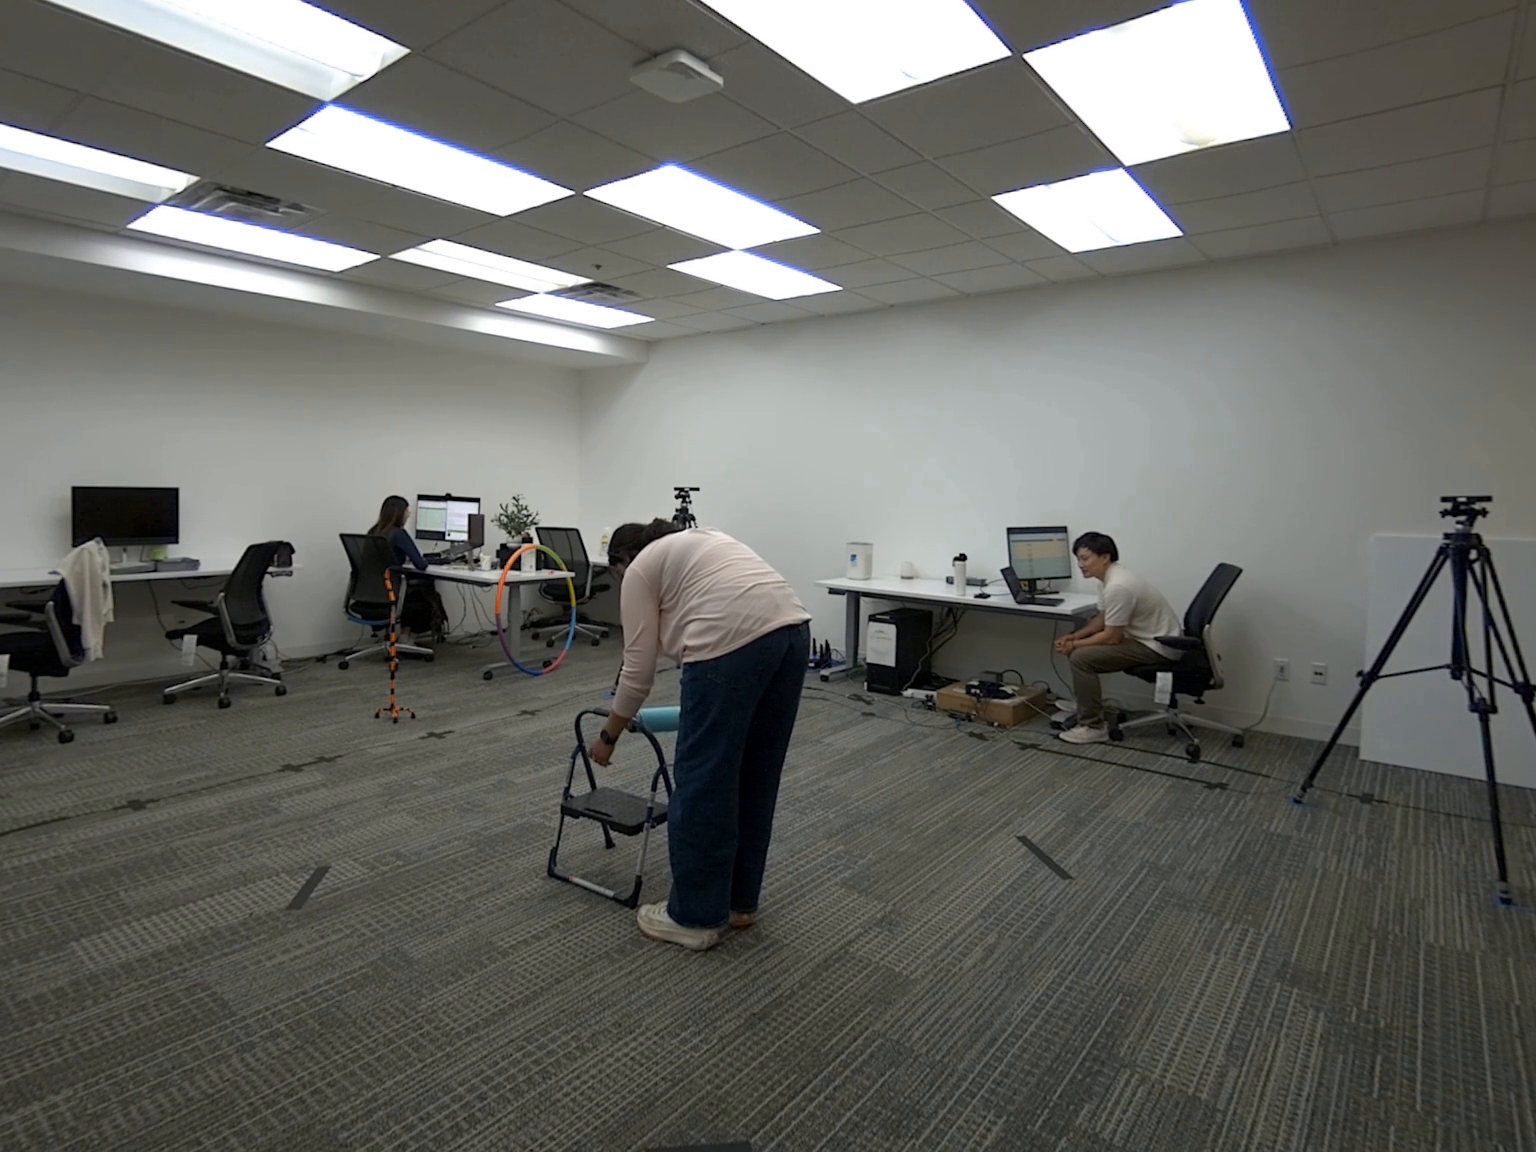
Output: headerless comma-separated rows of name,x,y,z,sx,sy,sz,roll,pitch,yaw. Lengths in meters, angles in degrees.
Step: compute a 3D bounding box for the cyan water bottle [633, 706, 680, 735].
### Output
cyan water bottle,-0.409,0.526,3.120,0.276,0.092,0.095,0,4,-29
